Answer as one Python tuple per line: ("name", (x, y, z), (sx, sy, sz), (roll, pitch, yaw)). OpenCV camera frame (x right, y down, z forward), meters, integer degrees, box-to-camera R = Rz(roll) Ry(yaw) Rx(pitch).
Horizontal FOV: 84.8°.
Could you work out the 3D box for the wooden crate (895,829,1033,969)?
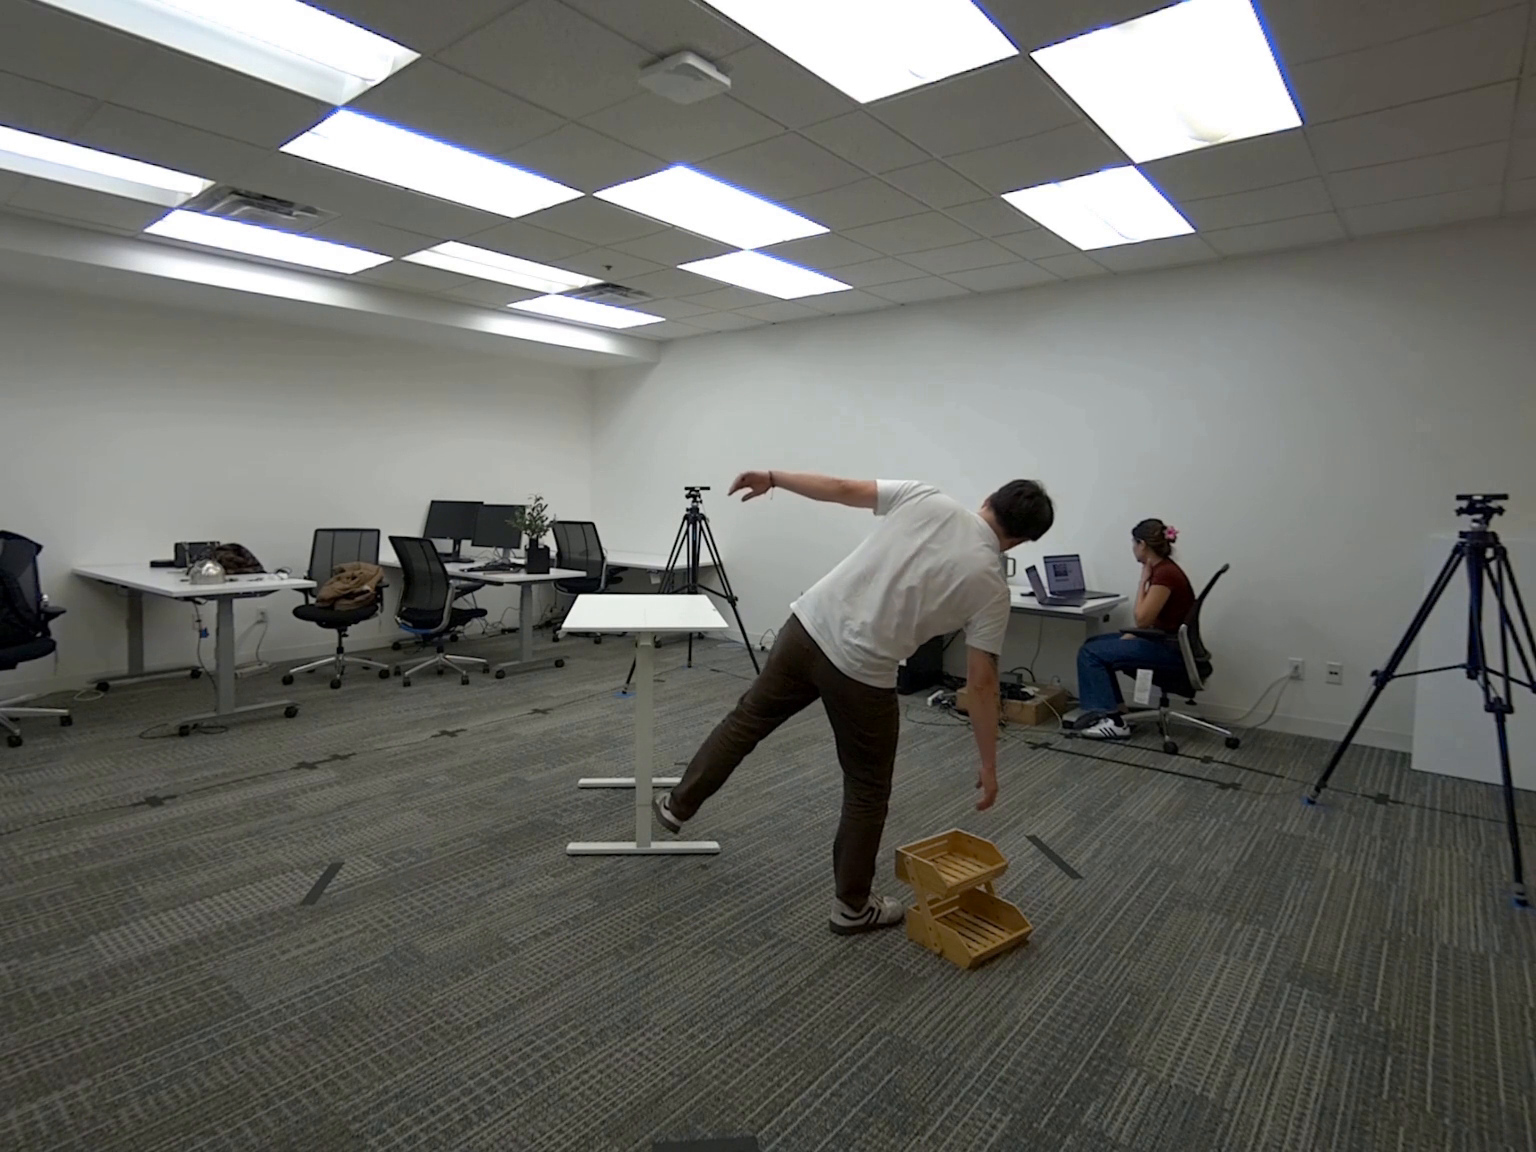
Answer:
("wooden crate", (0.614, 0.995, 2.656), (0.315, 0.273, 0.312), (-2, 4, -37))
